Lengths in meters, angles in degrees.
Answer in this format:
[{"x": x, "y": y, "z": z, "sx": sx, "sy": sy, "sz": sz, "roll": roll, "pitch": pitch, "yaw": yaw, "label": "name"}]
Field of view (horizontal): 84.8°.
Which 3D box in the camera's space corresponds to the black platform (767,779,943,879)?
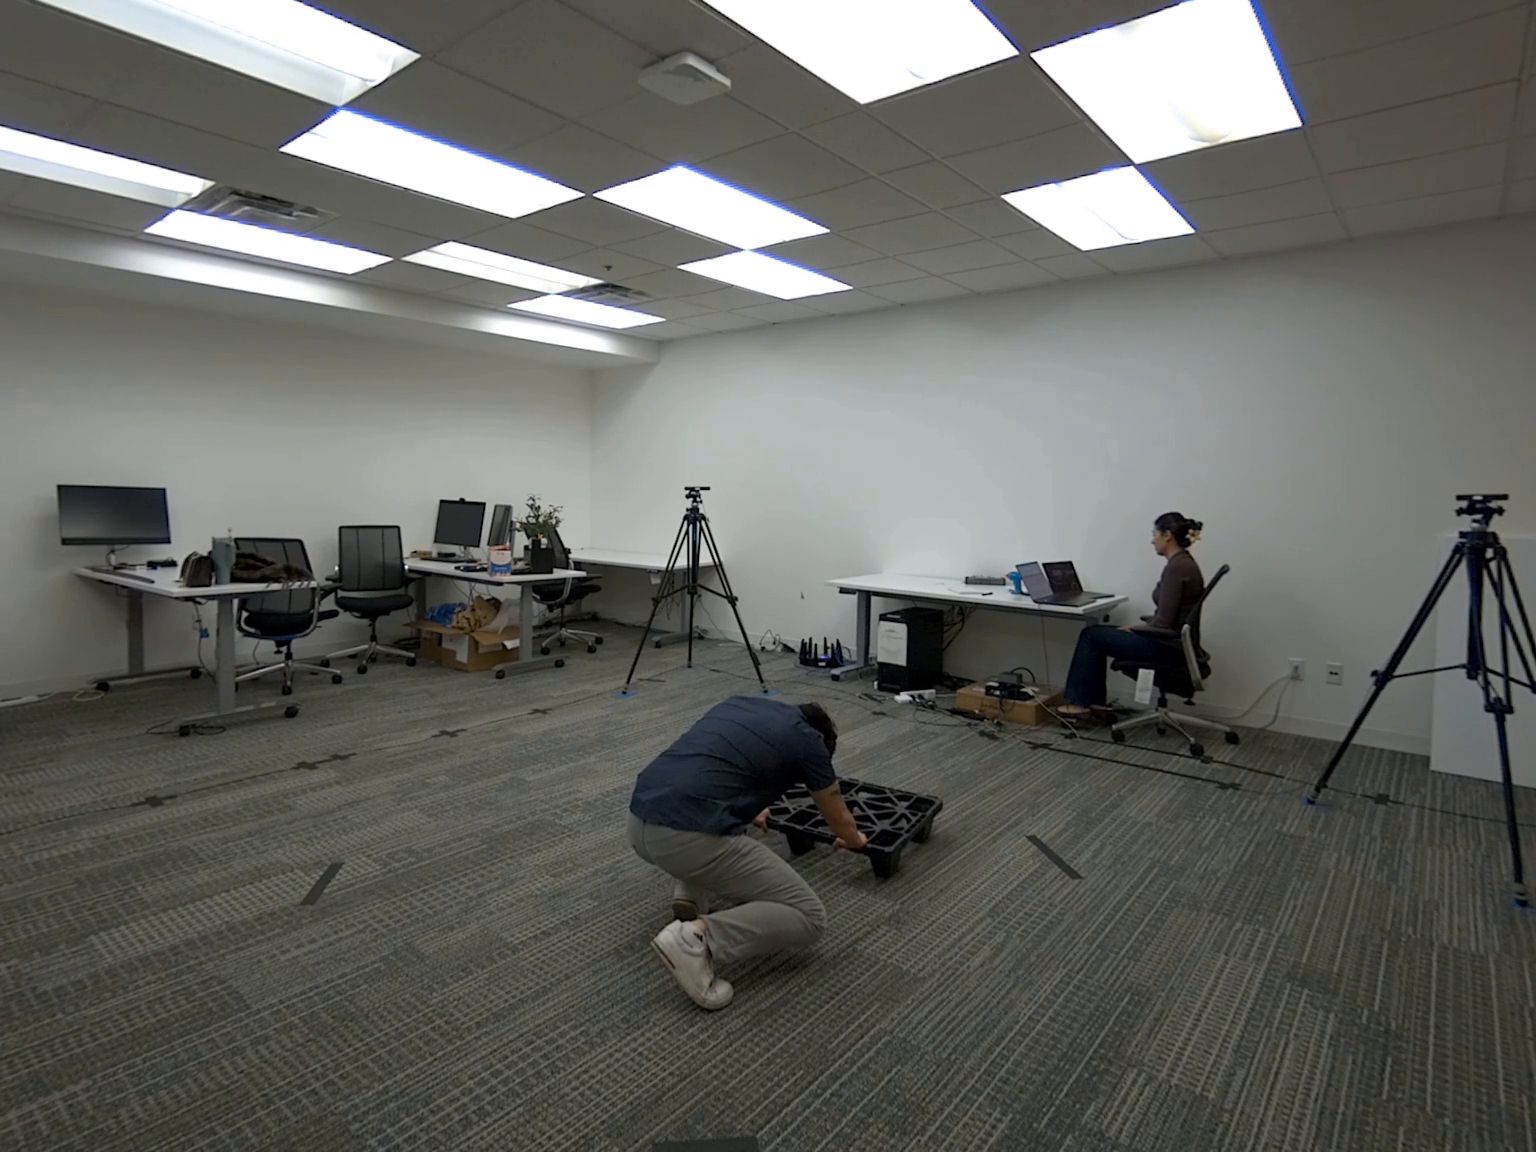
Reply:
[{"x": 0.215, "y": 0.972, "z": 3.436, "sx": 0.830, "sy": 0.143, "sz": 0.590, "roll": 5, "pitch": 7, "yaw": 31, "label": "black platform"}]
